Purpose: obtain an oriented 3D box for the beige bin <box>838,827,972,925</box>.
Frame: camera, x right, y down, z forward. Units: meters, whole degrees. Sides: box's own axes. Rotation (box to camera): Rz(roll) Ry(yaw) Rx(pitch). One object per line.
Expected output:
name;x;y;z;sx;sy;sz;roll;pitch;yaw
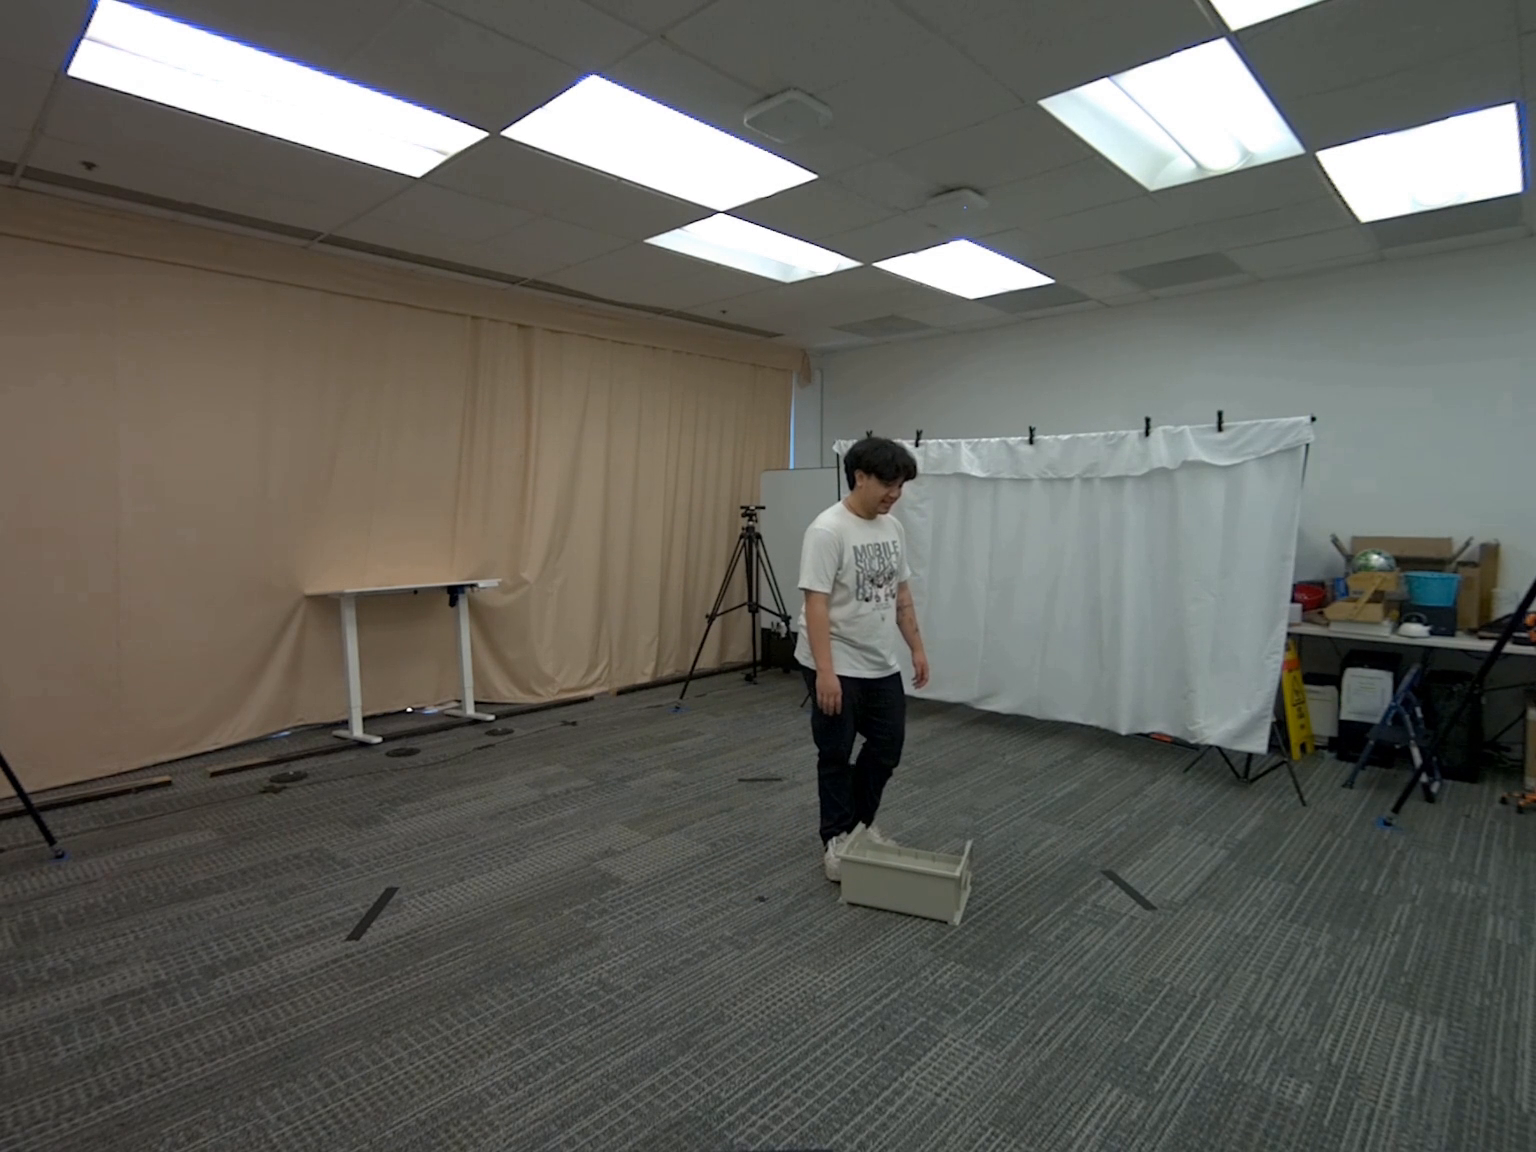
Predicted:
beige bin;0.502;1.047;3.022;0.433;0.188;0.369;2;6;23
